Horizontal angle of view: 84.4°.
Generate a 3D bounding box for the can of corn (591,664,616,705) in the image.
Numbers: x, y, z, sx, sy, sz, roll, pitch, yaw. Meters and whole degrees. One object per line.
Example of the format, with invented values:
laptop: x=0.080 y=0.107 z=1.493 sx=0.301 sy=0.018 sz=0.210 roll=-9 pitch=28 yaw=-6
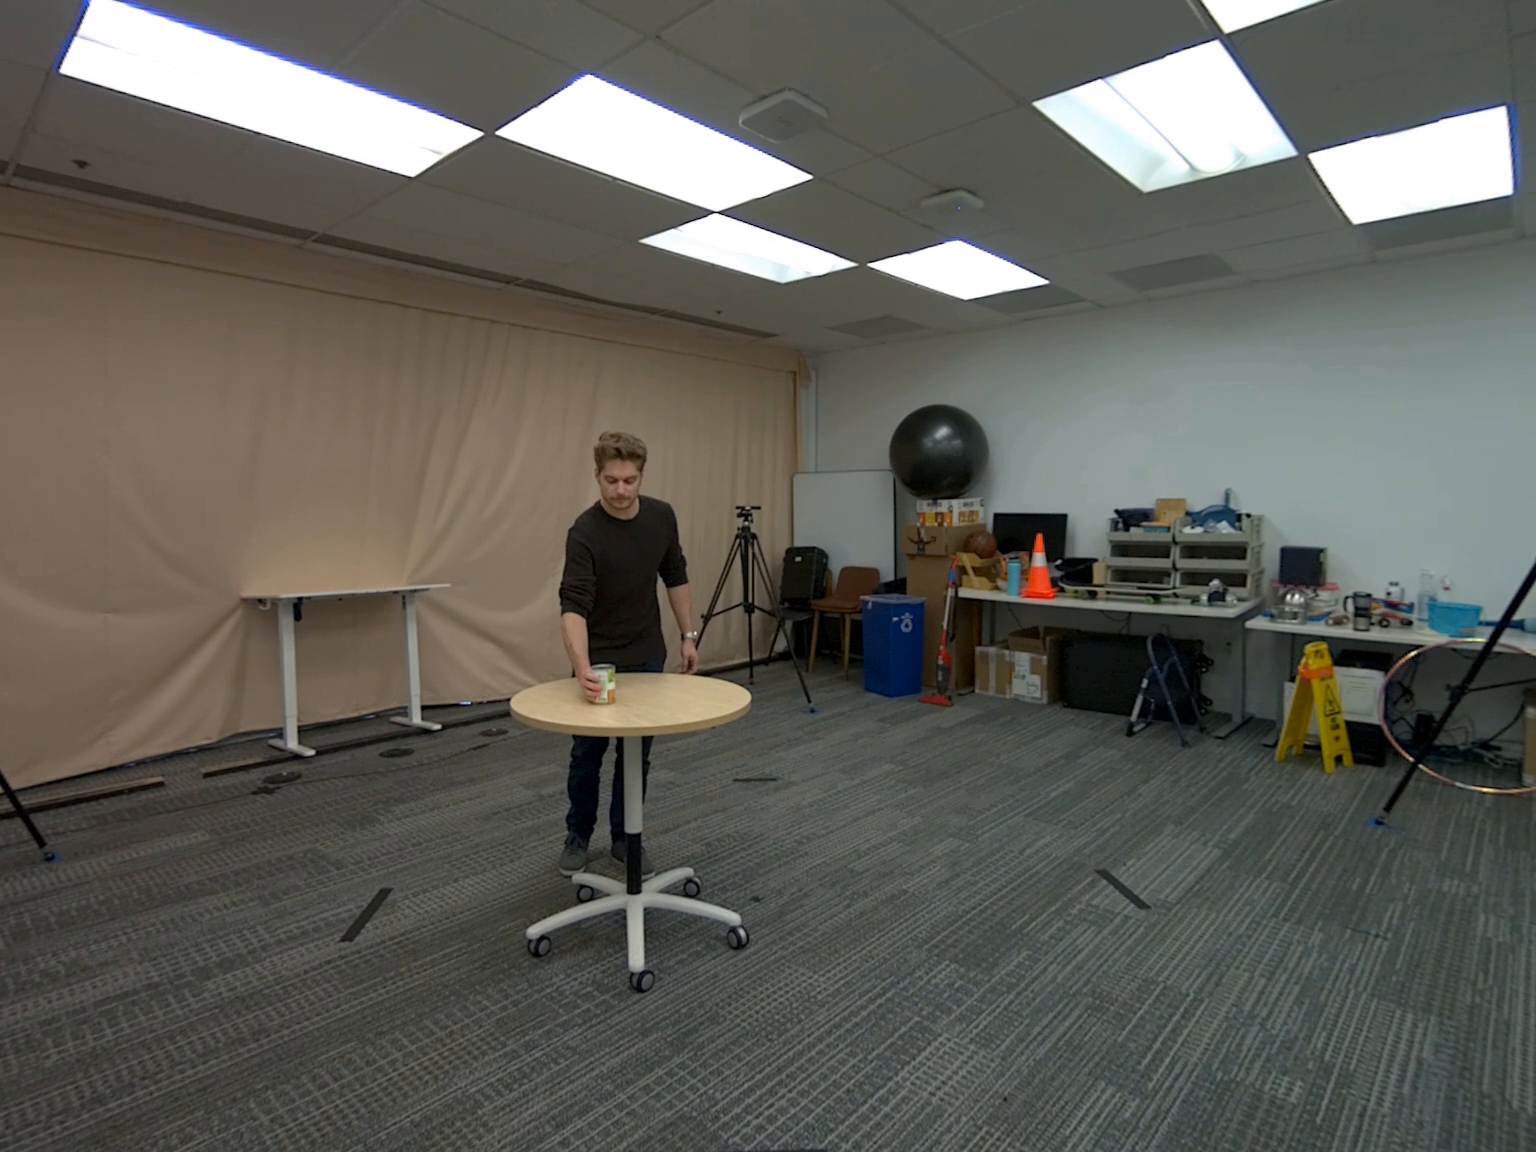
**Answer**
can of corn: x=-0.518 y=0.337 z=2.621 sx=0.074 sy=0.111 sz=0.074 roll=-1 pitch=3 yaw=-2
